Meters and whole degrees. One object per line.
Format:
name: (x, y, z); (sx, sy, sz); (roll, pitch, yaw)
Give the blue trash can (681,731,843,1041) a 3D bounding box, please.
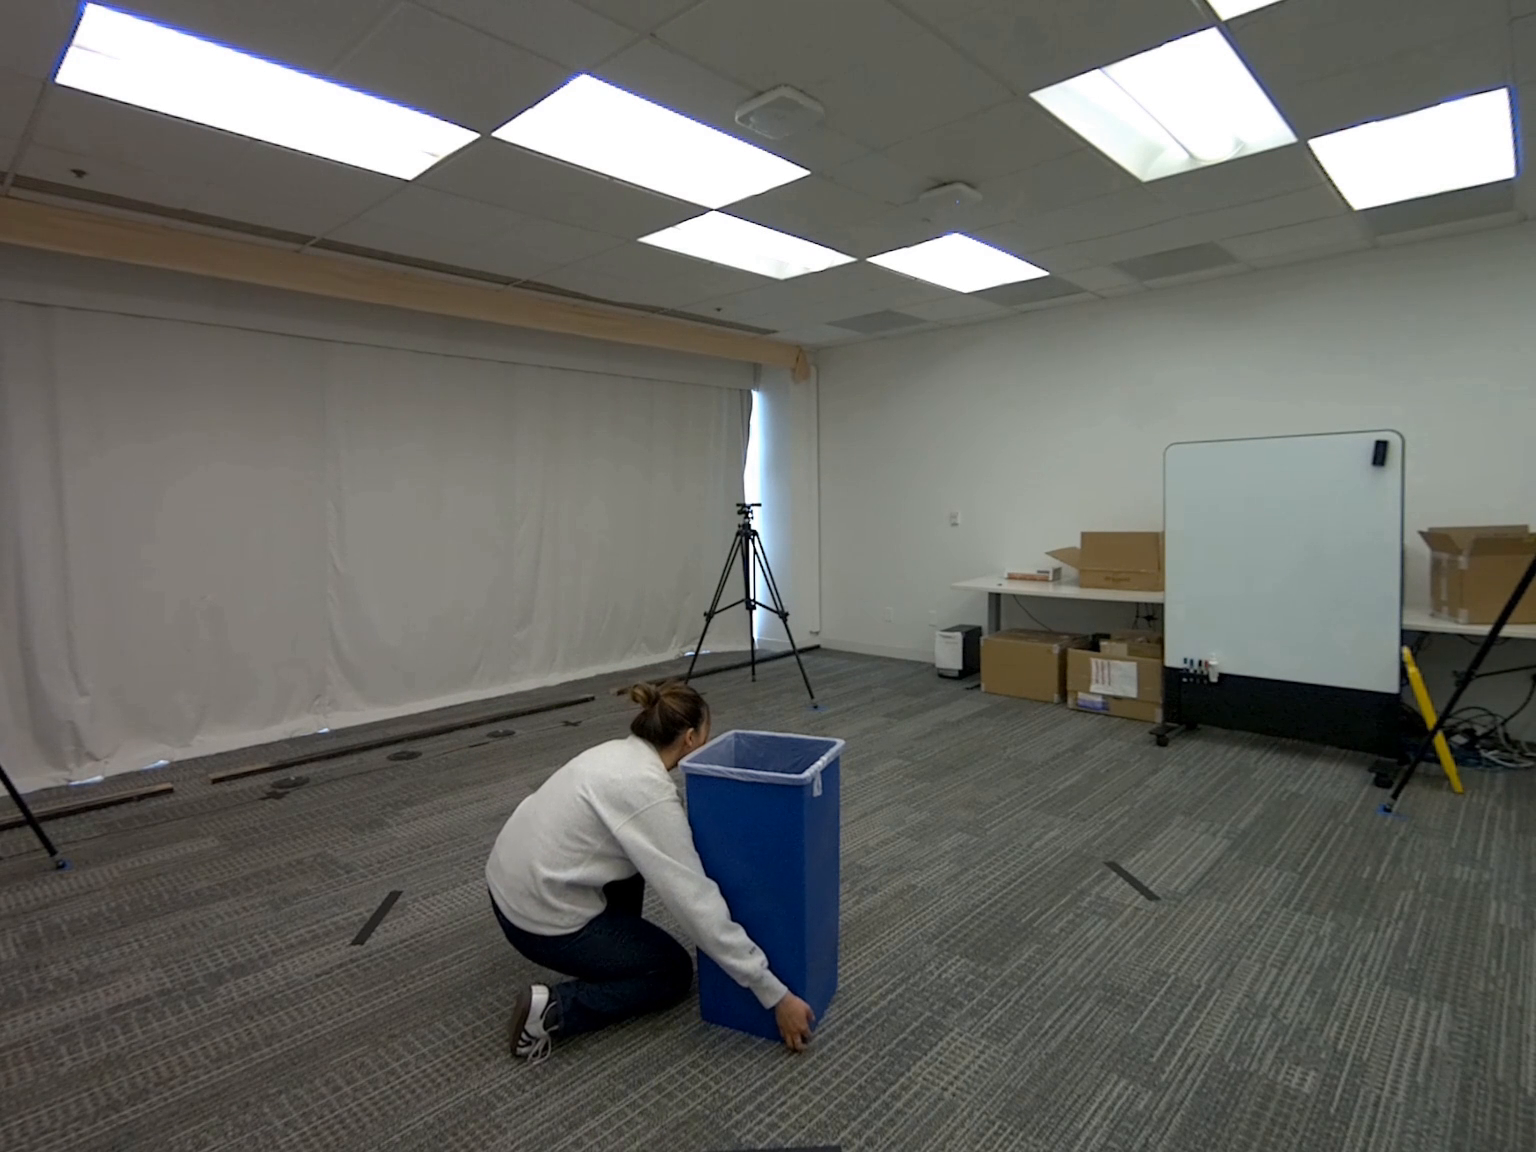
blue trash can: (-0.002, 0.838, 2.322); (0.383, 0.712, 0.370); (1, 3, 23)
